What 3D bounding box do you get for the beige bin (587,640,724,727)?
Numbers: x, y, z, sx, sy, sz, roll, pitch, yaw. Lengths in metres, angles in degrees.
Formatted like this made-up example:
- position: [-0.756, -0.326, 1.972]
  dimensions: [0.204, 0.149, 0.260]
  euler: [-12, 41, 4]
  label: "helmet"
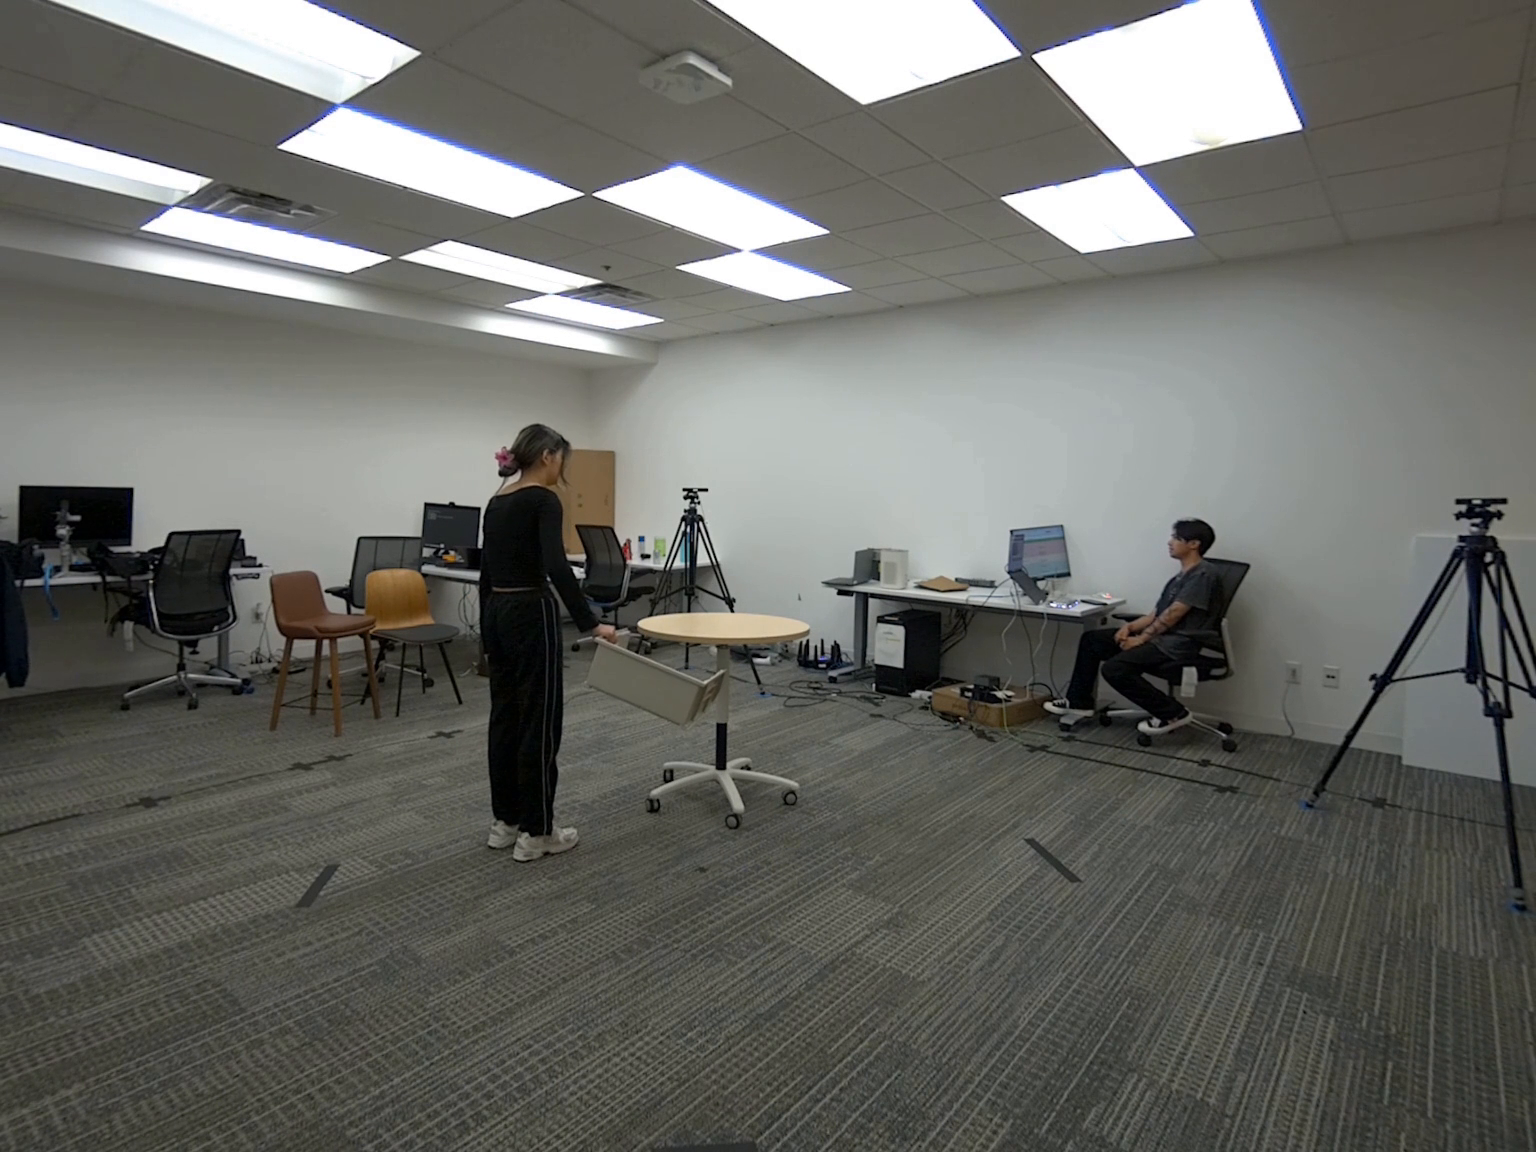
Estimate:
- position: [-0.417, 0.364, 3.099]
  dimensions: [0.429, 0.188, 0.373]
  euler: [21, 7, 11]
  label: "beige bin"
